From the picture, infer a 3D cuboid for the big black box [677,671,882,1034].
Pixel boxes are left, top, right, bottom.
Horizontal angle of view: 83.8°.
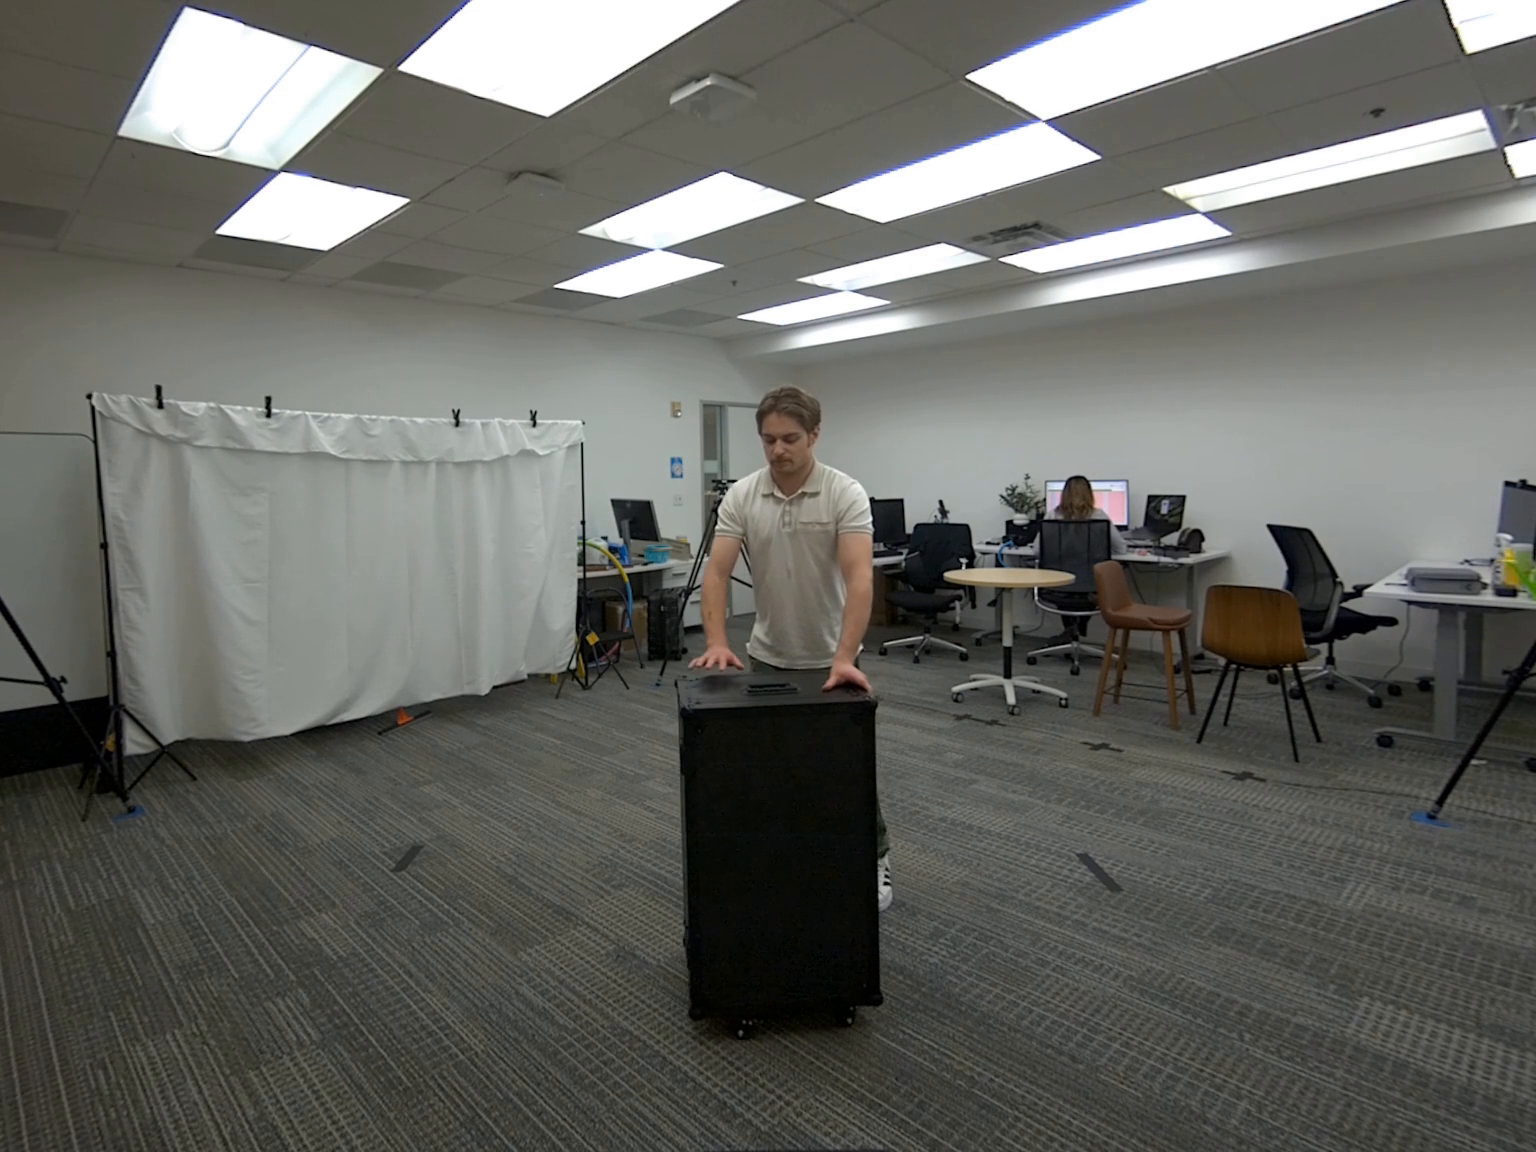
[{"bbox_3d":[0.006,0.717,2.287,0.521,0.866,0.388,-1,3,-5],"label":"big black box"}]
